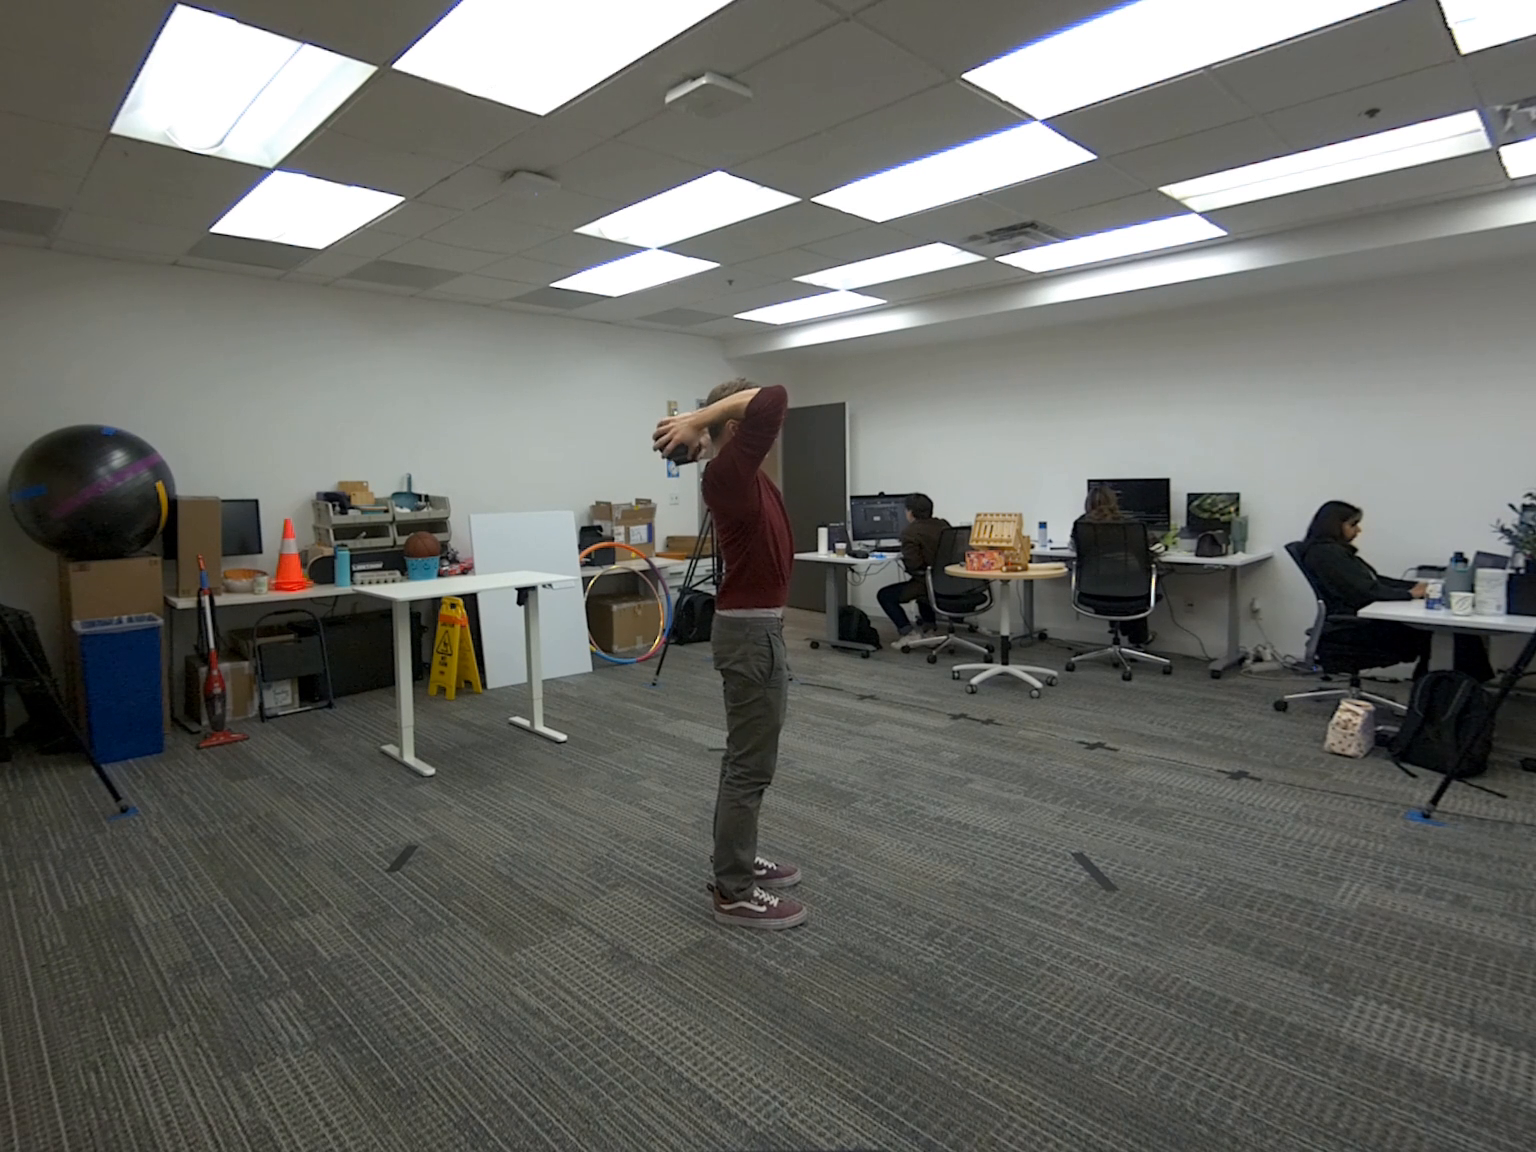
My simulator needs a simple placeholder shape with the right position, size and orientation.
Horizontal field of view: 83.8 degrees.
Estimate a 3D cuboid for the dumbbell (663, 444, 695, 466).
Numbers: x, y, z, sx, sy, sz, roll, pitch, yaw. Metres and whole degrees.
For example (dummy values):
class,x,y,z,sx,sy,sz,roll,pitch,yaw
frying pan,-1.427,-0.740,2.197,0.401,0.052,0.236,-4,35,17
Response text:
class,x,y,z,sx,sy,sz,roll,pitch,yaw
dumbbell,-0.284,-0.463,2.772,0.123,0.108,0.292,40,3,1
